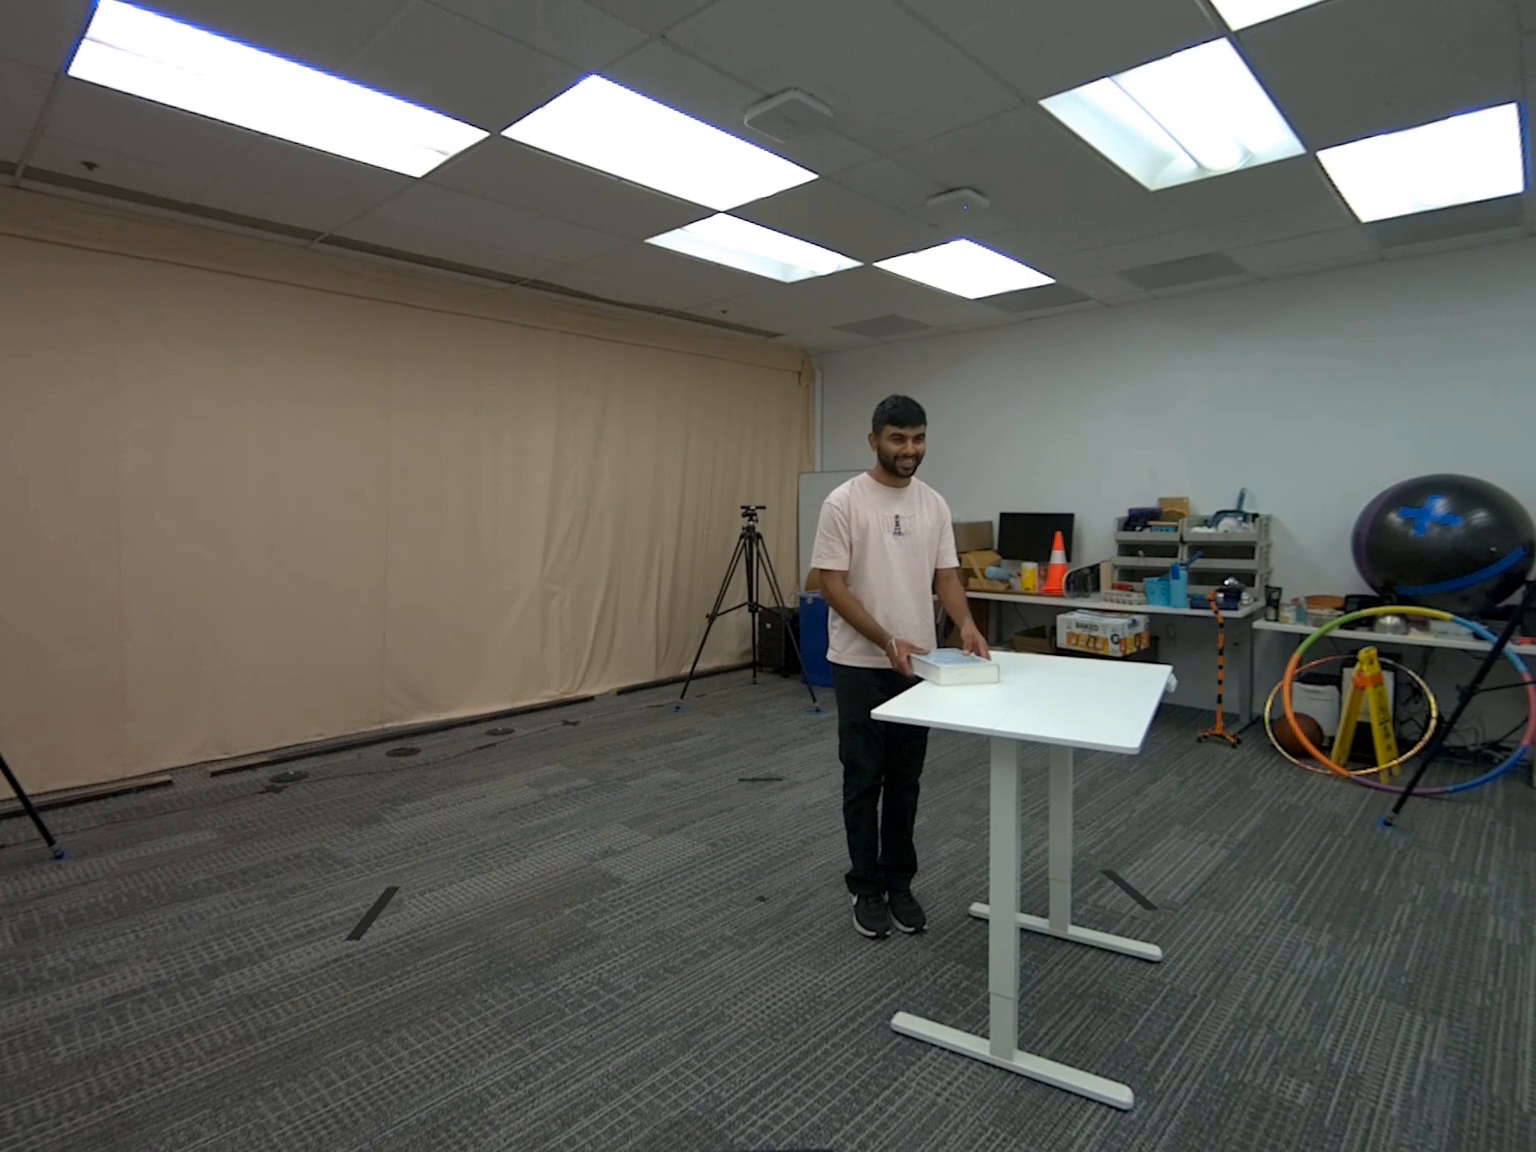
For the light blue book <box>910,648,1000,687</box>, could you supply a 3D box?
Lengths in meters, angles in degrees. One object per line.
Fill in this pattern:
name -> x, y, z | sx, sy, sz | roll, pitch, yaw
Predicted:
light blue book -> 0.539, 0.273, 2.506 | 0.190, 0.059, 0.264 | -1, 4, -8
